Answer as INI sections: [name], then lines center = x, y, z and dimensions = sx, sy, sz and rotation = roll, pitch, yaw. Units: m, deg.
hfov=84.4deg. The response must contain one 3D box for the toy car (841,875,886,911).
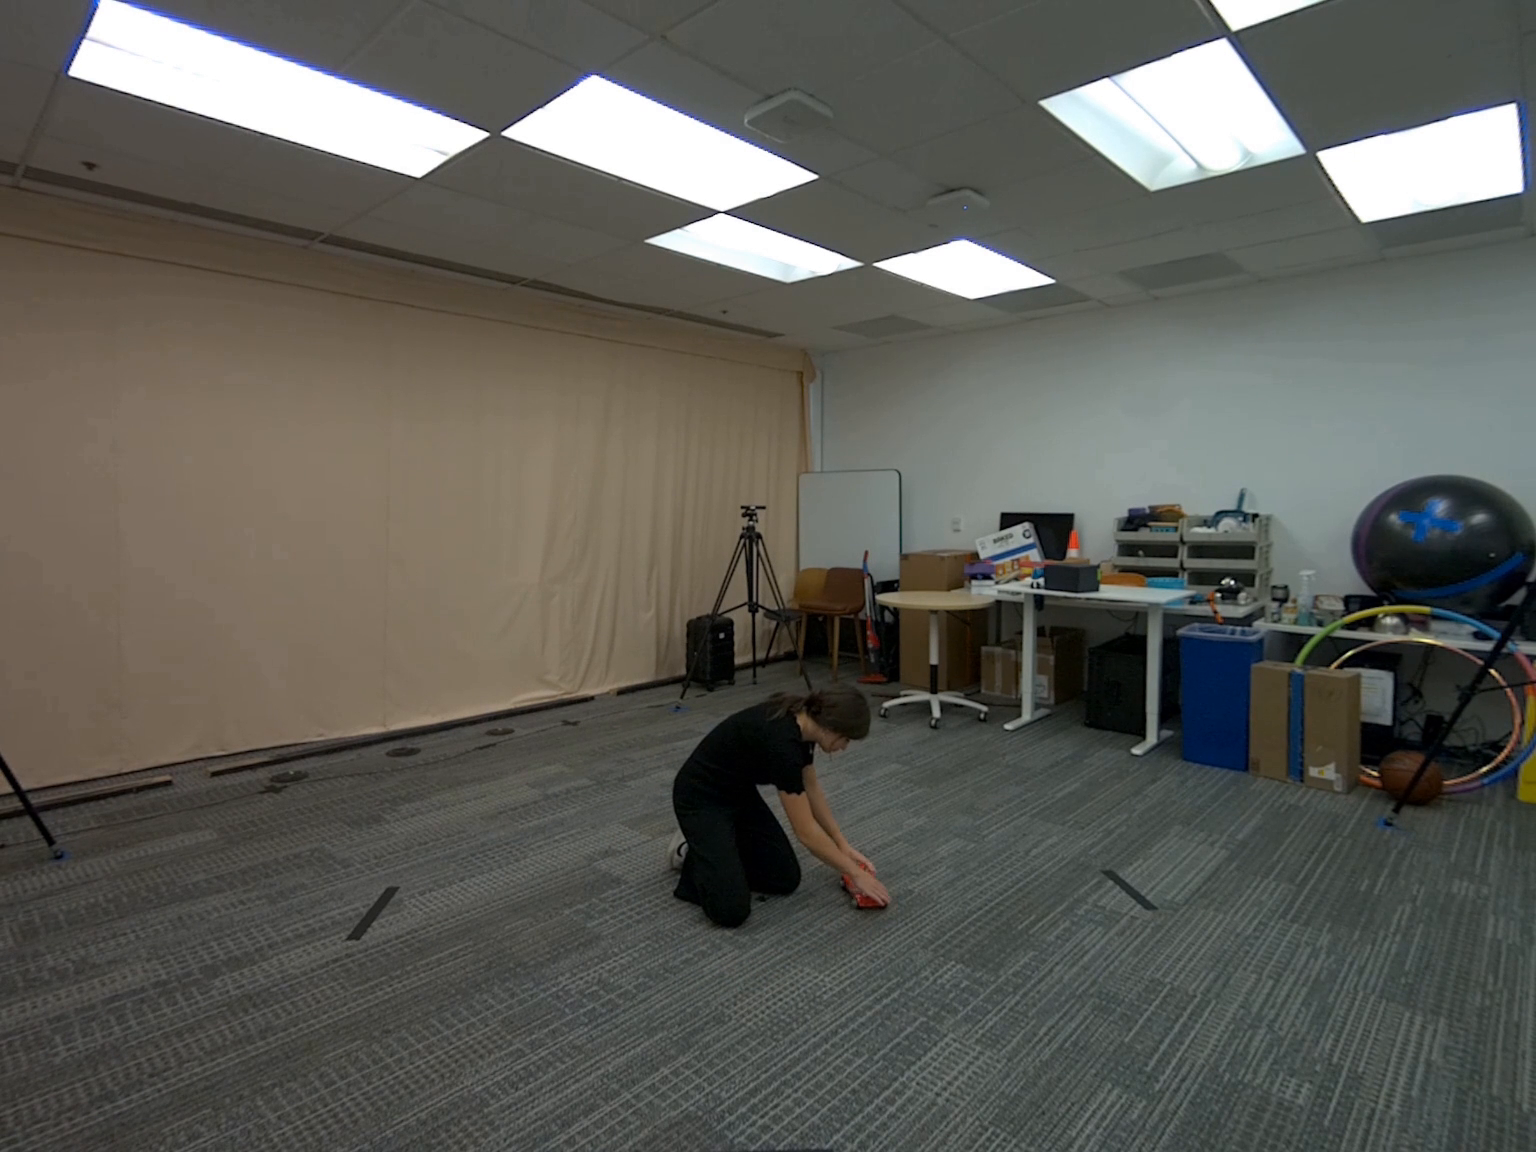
[toy car]
center = 0.344, 1.112, 2.998
dimensions = 0.129, 0.082, 0.259
rotation = -2, 15, -11
